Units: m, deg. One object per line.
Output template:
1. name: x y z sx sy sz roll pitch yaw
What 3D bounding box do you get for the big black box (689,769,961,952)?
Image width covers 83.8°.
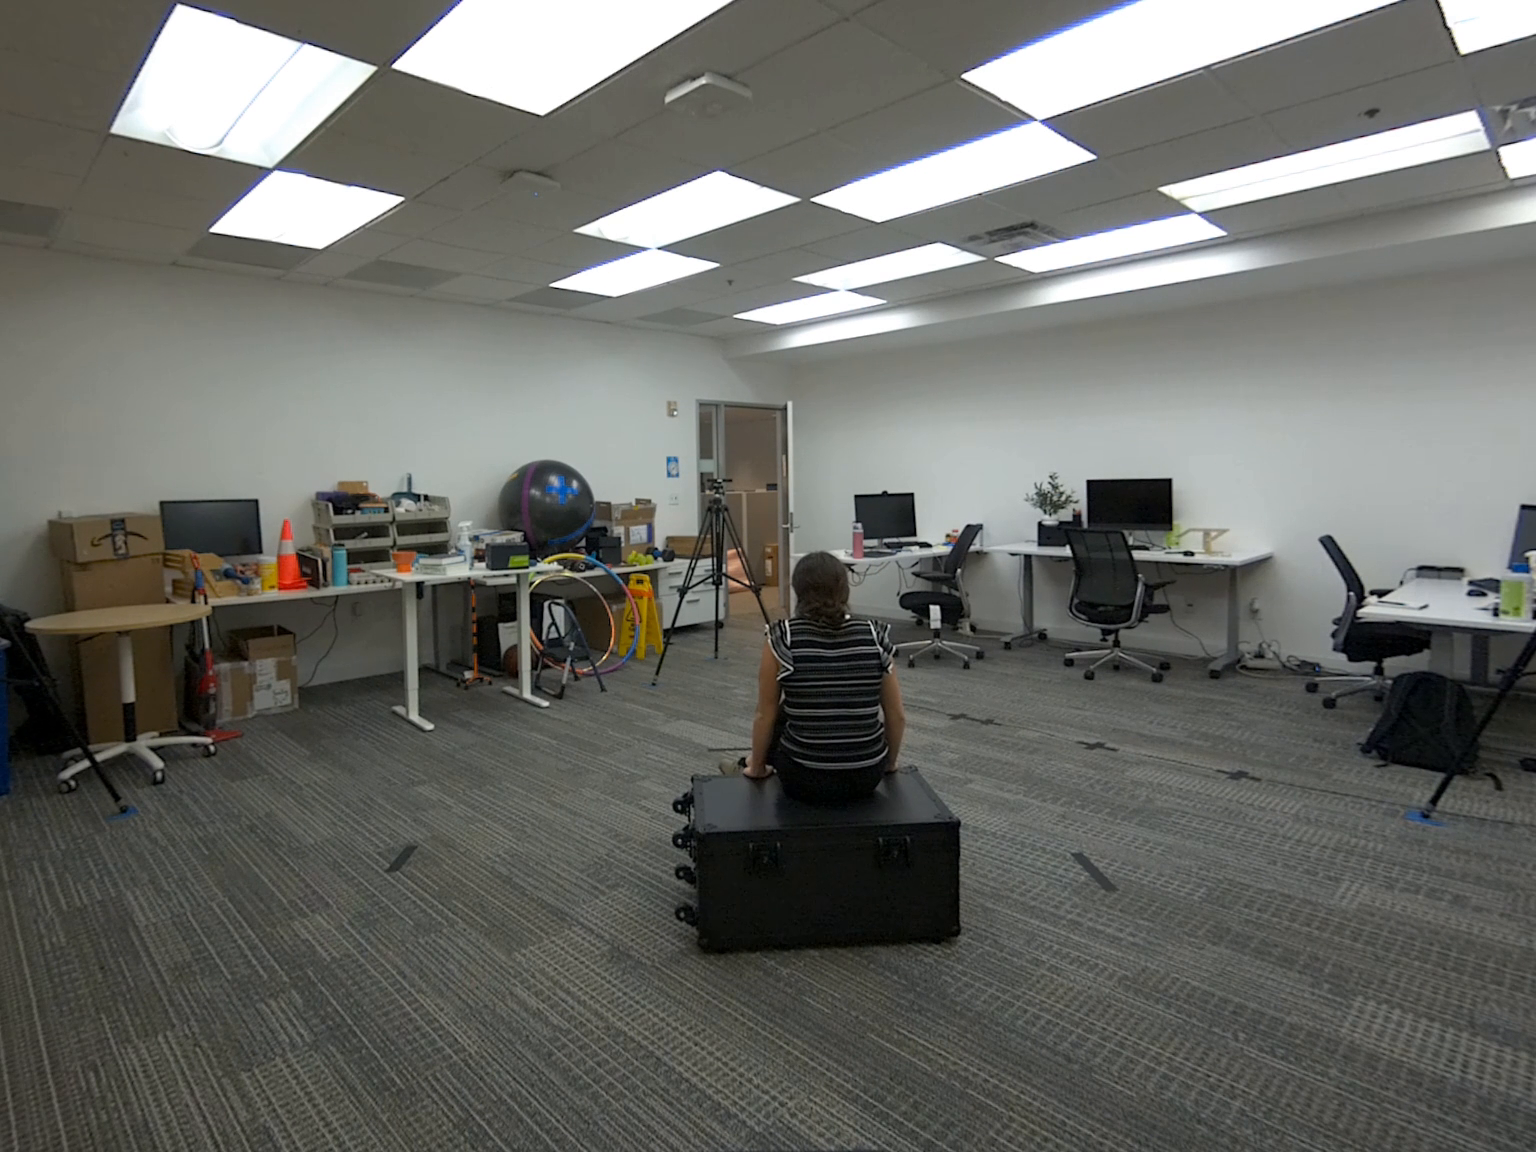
1. big black box: 0.123 0.888 2.753 0.858 0.395 0.526 -1 5 -5
